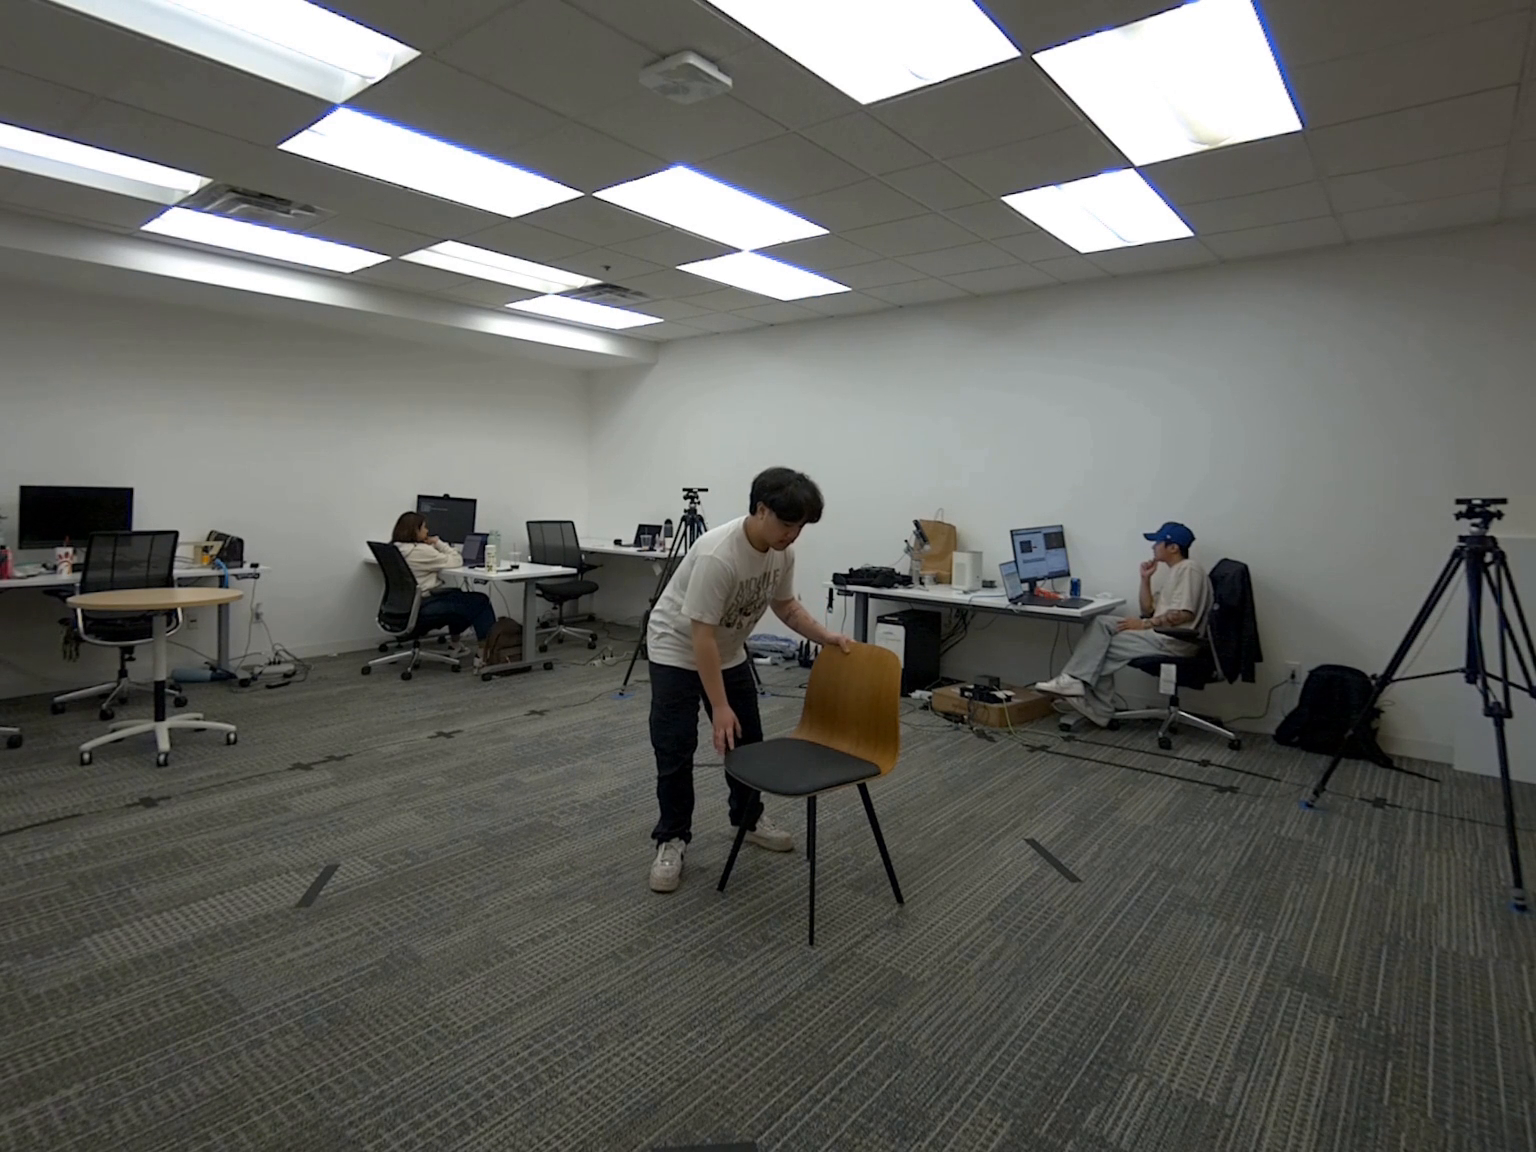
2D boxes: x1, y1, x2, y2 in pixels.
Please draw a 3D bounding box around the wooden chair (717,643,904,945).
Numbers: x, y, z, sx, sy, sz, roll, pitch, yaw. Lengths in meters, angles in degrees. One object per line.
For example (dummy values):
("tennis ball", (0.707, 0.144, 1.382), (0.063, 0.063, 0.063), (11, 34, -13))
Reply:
("wooden chair", (0.143, 0.673, 2.877), (0.506, 0.877, 0.494), (4, 1, -42))
